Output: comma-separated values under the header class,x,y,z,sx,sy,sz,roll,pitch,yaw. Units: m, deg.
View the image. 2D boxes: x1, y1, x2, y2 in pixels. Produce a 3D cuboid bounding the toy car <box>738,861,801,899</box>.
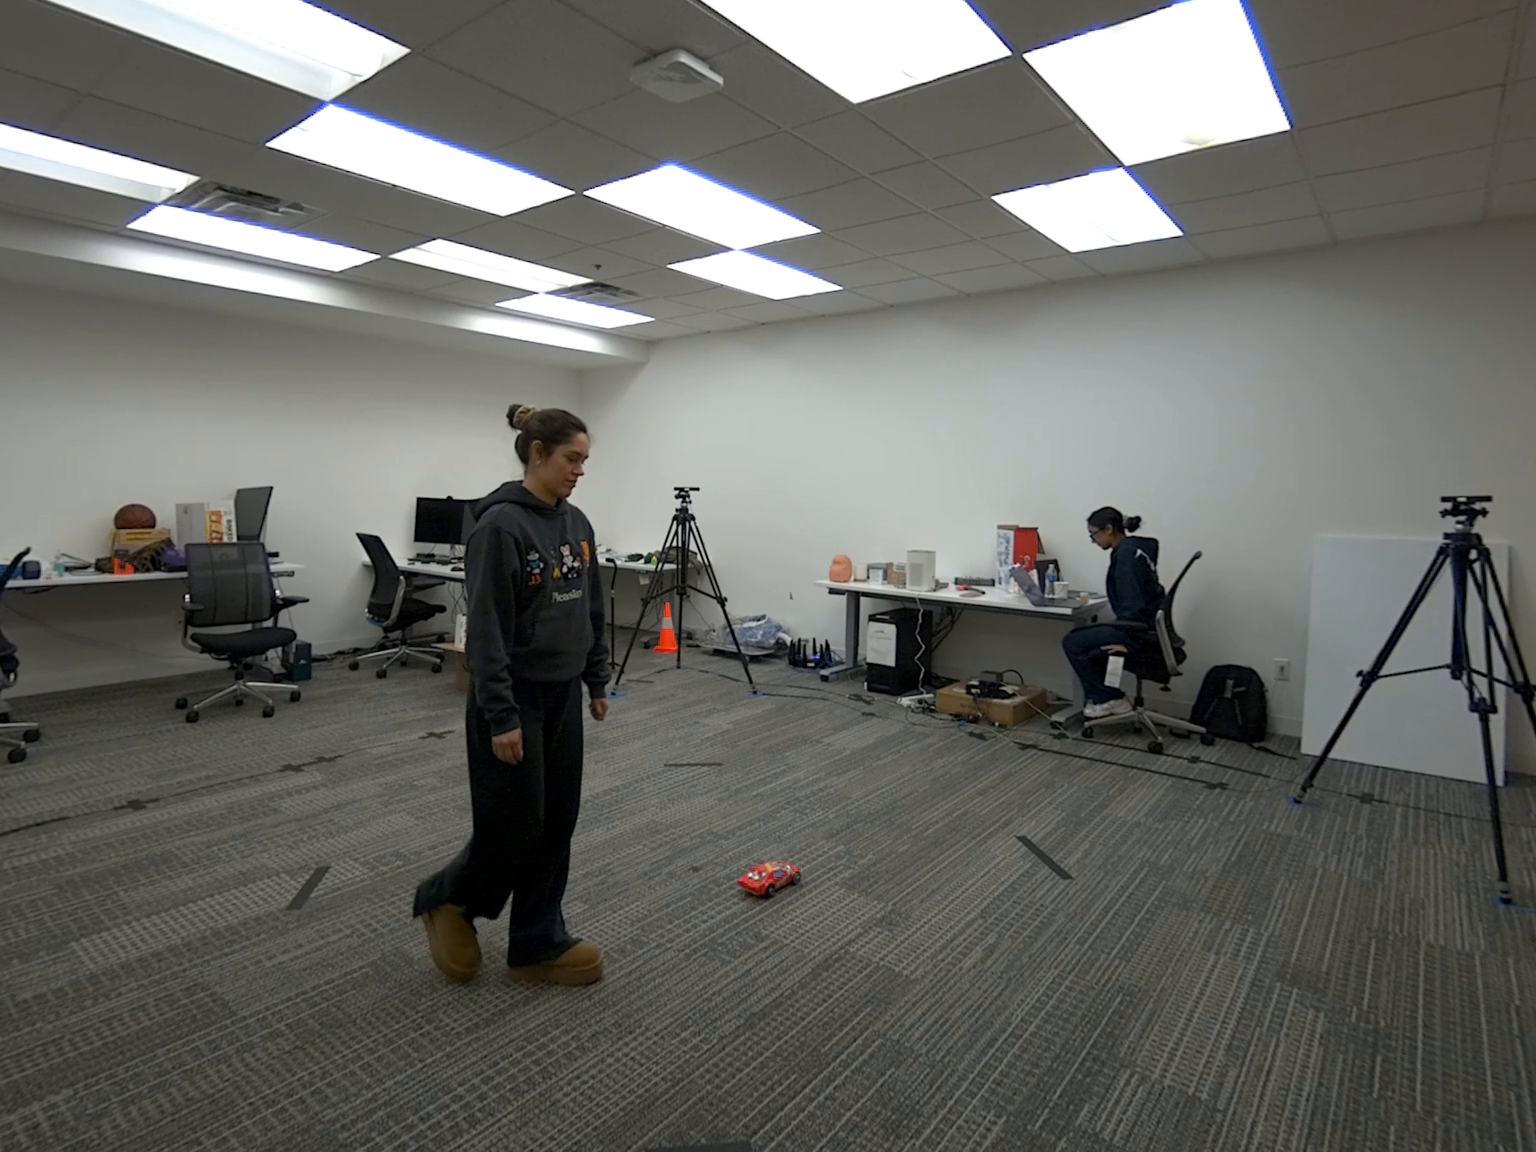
class,x,y,z,sx,sy,sz,roll,pitch,yaw
toy car,0.005,1.054,2.966,0.135,0.083,0.245,6,-4,43
